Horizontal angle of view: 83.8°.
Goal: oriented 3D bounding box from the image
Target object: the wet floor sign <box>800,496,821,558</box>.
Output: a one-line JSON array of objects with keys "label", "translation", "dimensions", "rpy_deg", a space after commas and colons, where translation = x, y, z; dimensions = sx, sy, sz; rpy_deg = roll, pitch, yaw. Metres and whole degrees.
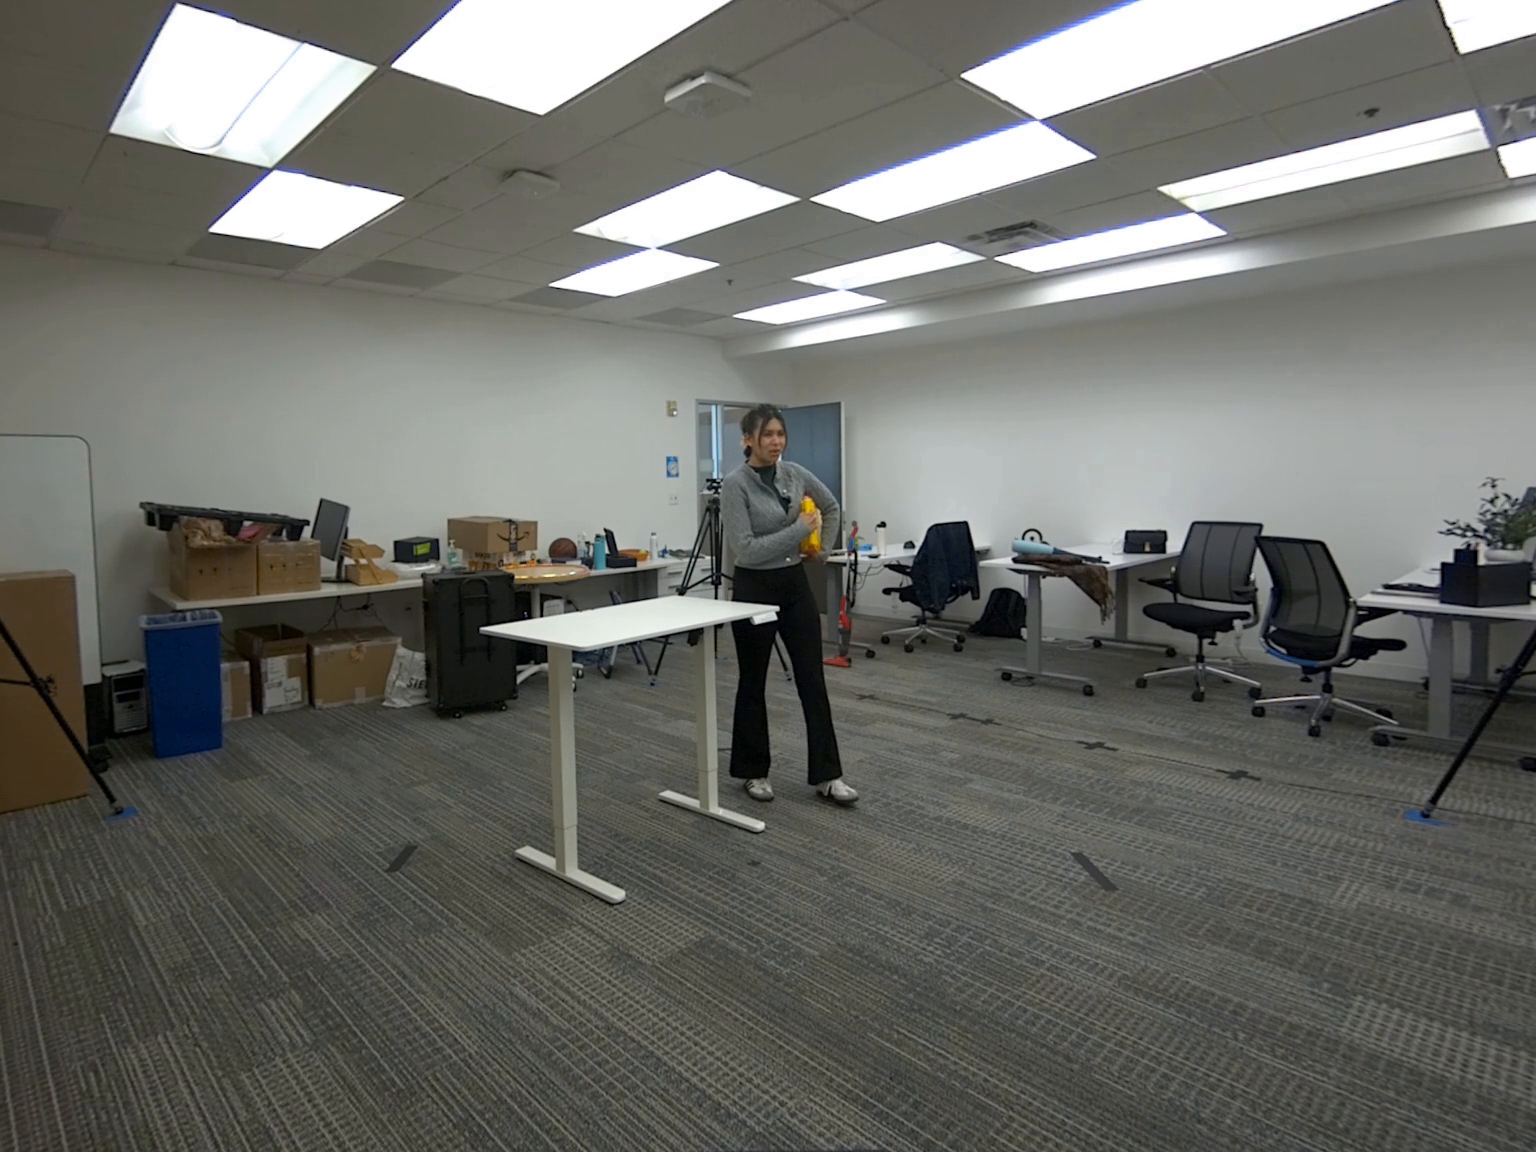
[{"label": "wet floor sign", "translation": [0.171, -0.202, 3.947], "dimensions": [0.289, 0.284, 0.643], "rpy_deg": [-4, -5, -4]}]
